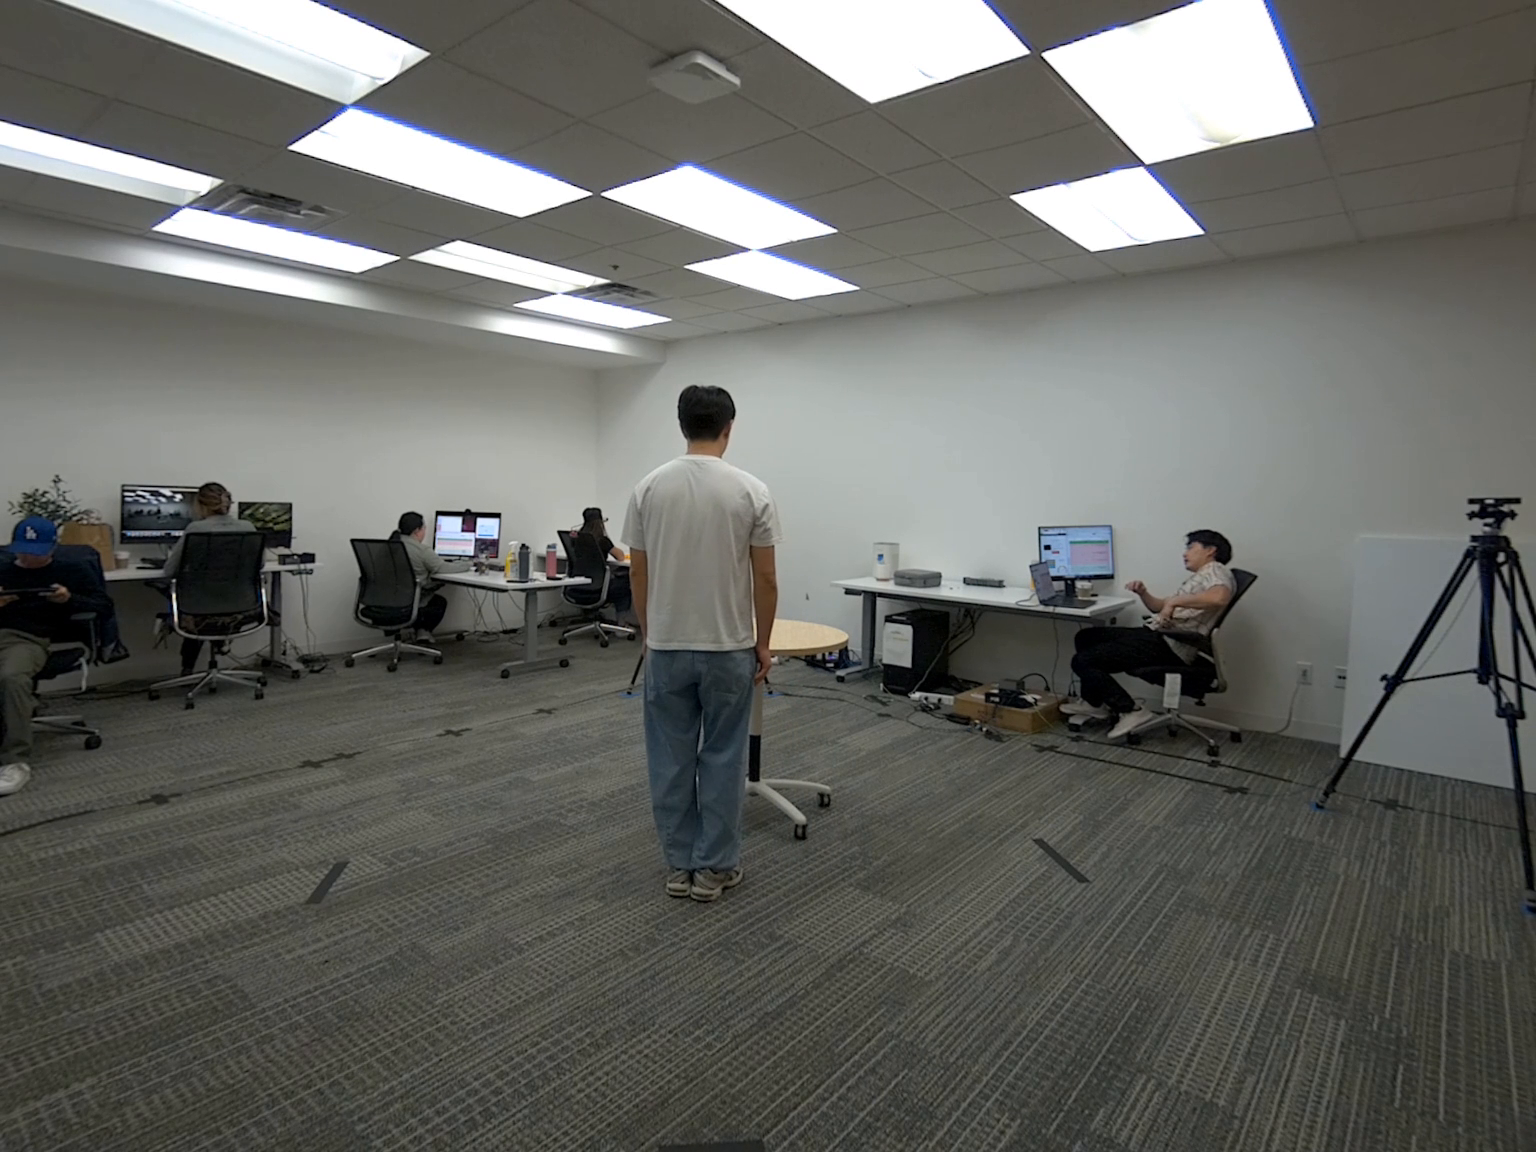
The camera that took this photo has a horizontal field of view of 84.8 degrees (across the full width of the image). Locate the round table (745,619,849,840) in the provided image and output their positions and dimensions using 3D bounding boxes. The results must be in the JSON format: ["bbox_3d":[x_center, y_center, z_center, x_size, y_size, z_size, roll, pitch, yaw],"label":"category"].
[{"bbox_3d":[-0.062,0.629,3.643,0.763,0.791,0.768,1,4,-2],"label":"round table"}]
